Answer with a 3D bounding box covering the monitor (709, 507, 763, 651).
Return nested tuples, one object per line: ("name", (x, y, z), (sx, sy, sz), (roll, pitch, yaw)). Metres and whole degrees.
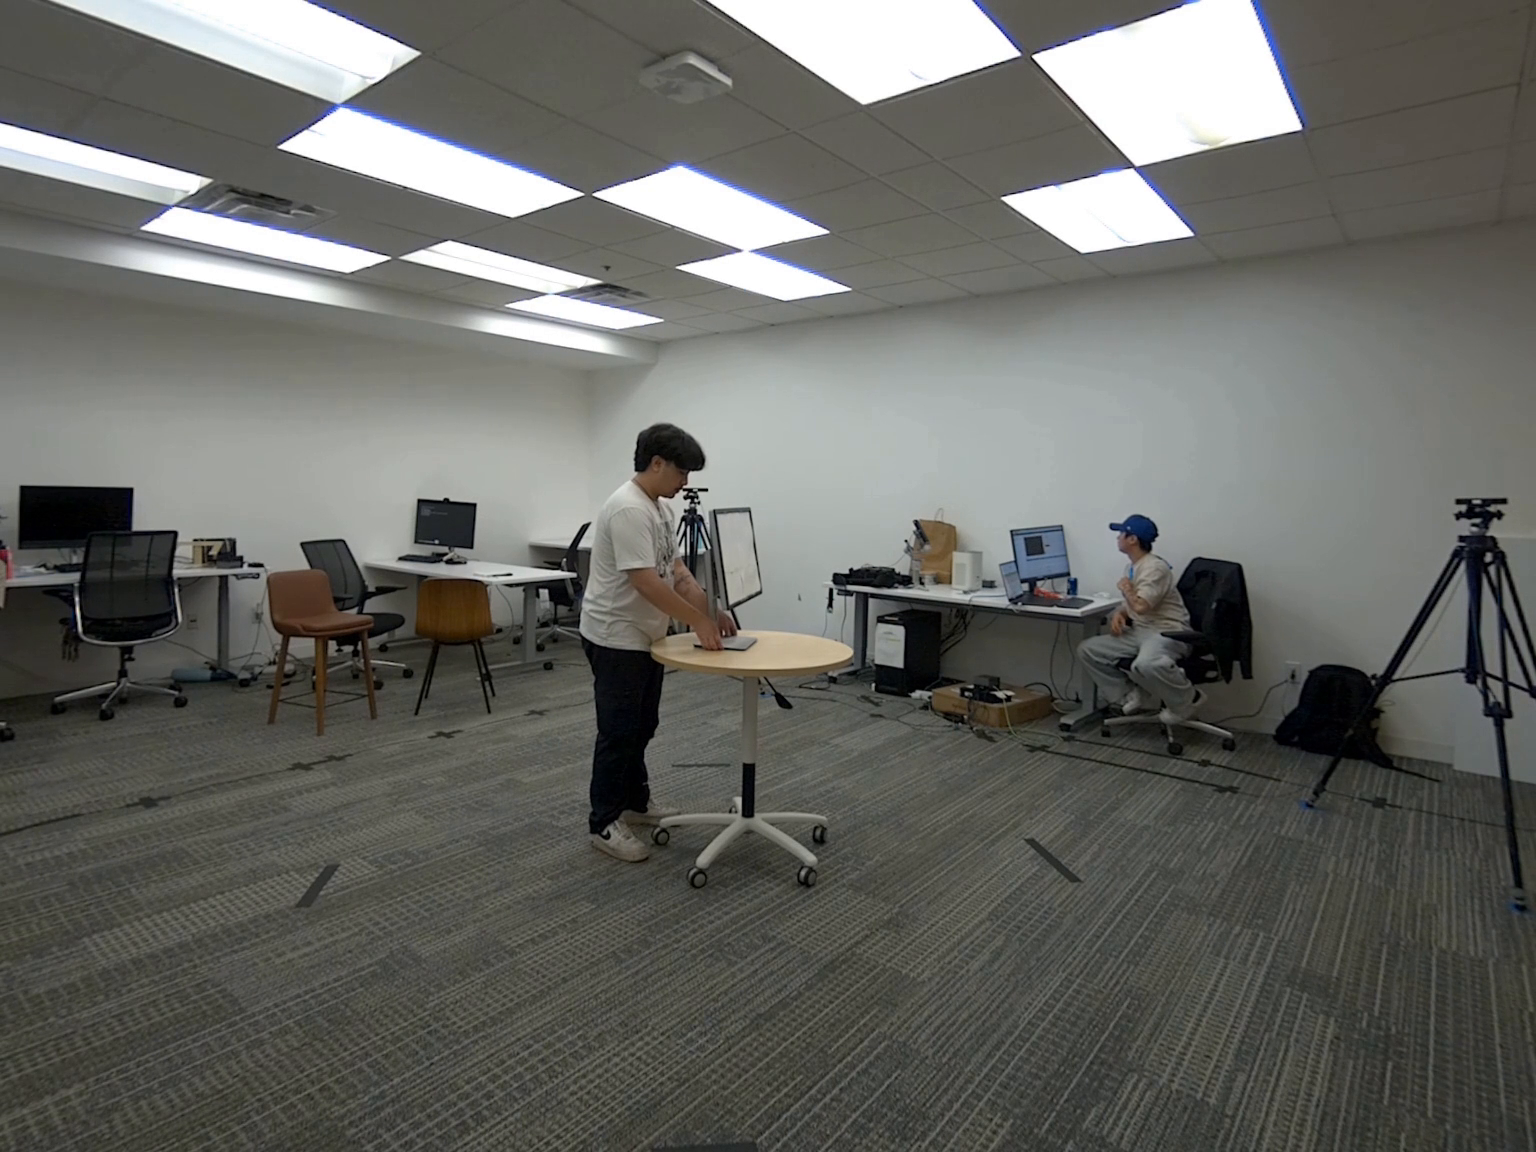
("monitor", (-0.192, 0.006, 3.308), (0.213, 0.553, 0.558), (-2, 3, 13))
